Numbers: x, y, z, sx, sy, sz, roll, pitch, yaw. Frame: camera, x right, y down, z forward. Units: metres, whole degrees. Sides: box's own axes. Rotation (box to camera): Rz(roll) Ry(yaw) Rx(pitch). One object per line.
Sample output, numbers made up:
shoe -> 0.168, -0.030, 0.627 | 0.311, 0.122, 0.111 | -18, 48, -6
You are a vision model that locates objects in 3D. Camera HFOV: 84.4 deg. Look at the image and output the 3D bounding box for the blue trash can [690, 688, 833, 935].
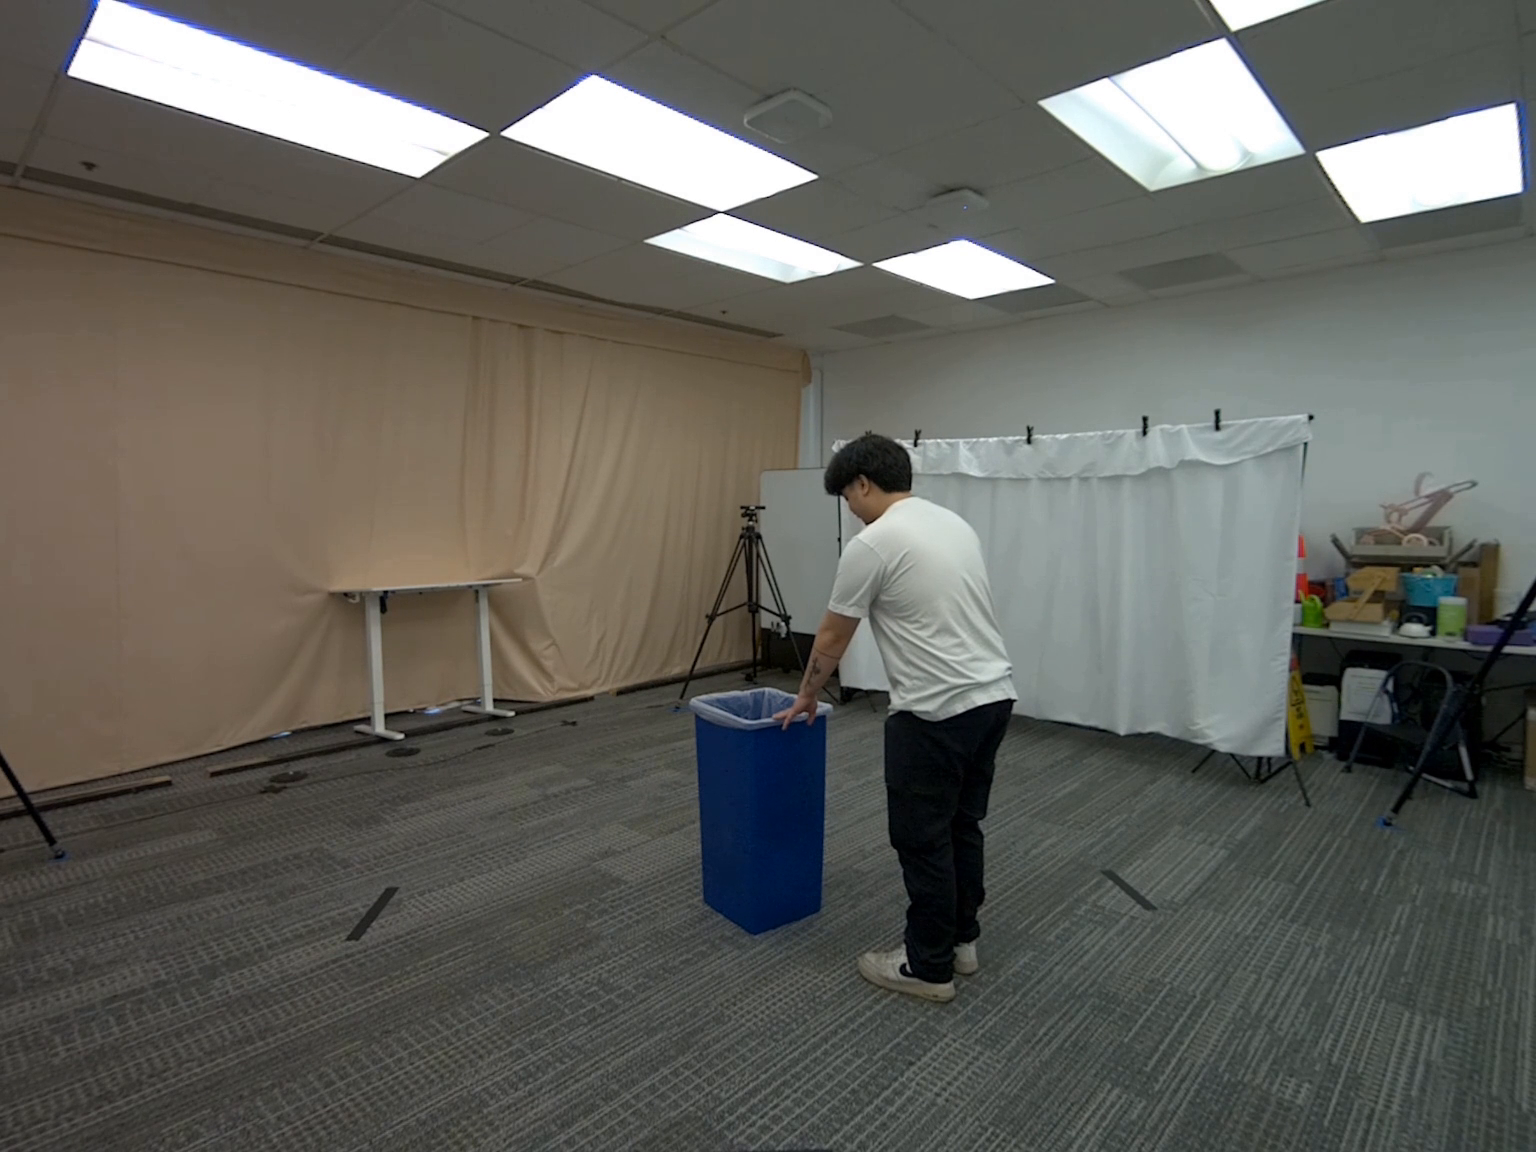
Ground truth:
blue trash can -> -0.027, 0.791, 2.906 | 0.363, 0.712, 0.390 | -2, 4, -37
